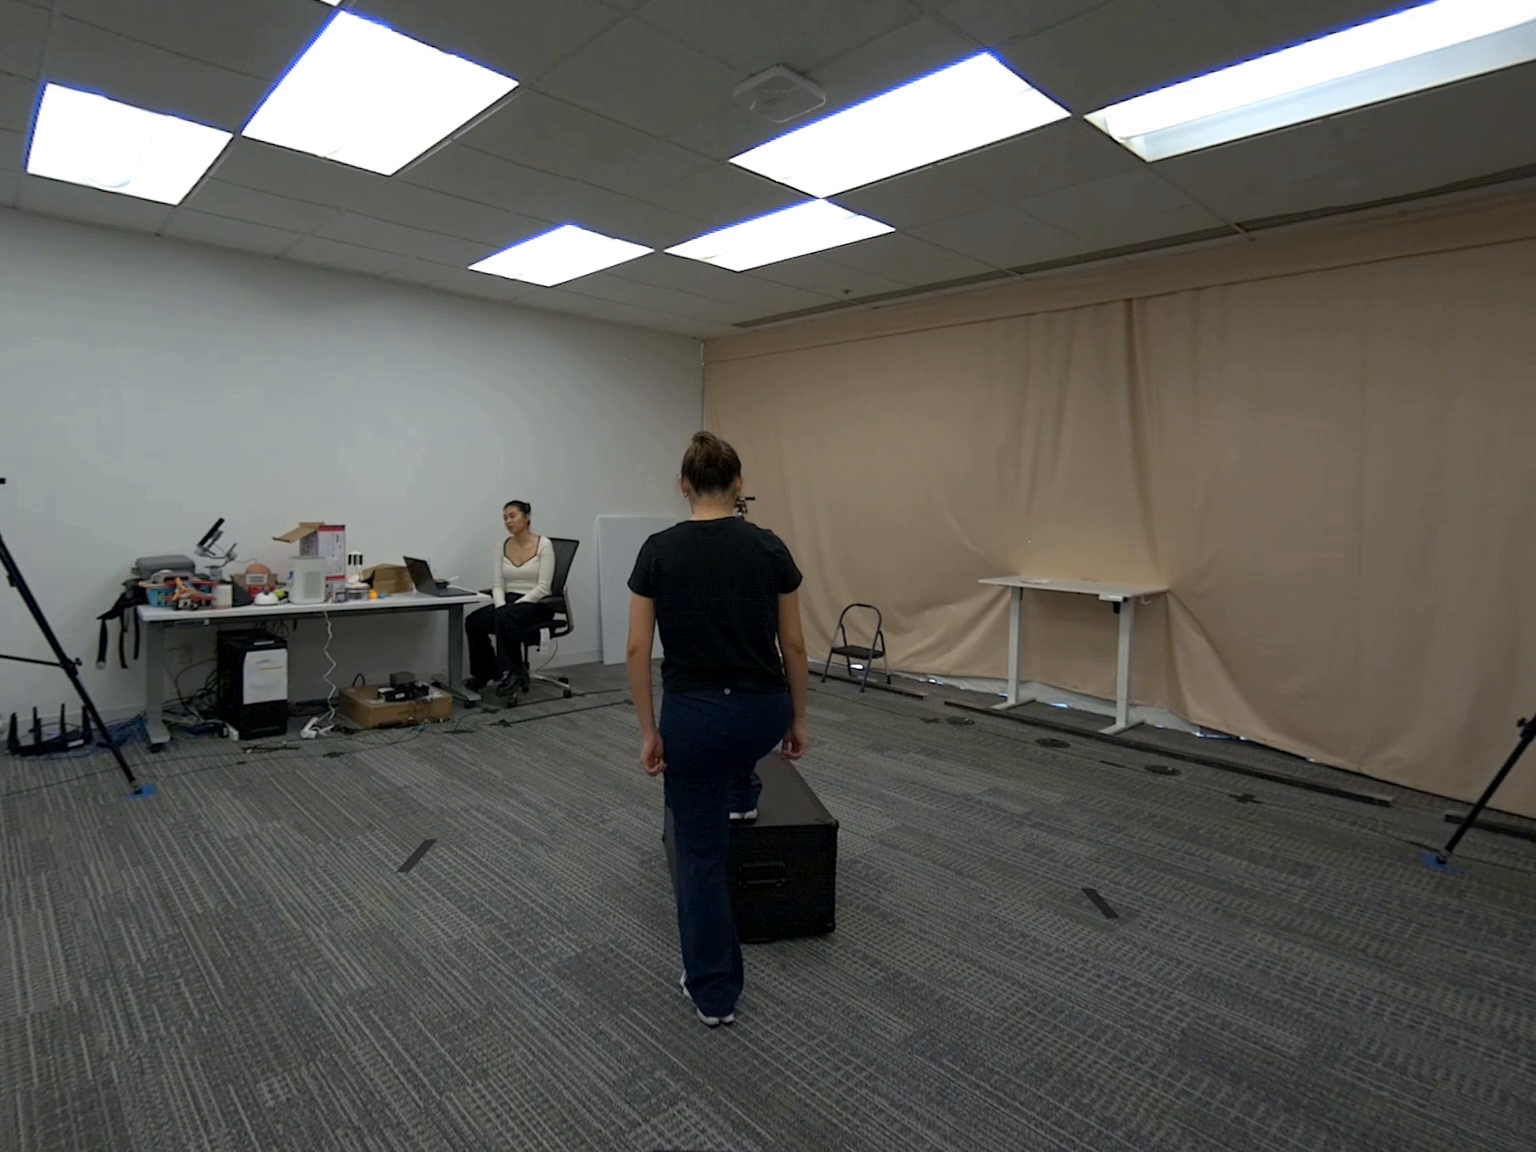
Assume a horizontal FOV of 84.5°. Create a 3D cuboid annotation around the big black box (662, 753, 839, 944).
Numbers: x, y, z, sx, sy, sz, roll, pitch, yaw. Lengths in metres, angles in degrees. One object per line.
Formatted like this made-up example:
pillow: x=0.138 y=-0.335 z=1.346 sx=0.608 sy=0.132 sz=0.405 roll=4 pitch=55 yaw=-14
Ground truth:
big black box: x=-0.105 y=0.923 z=3.018 sx=0.516 sy=0.395 sz=0.872 roll=1 pitch=5 yaw=-12
